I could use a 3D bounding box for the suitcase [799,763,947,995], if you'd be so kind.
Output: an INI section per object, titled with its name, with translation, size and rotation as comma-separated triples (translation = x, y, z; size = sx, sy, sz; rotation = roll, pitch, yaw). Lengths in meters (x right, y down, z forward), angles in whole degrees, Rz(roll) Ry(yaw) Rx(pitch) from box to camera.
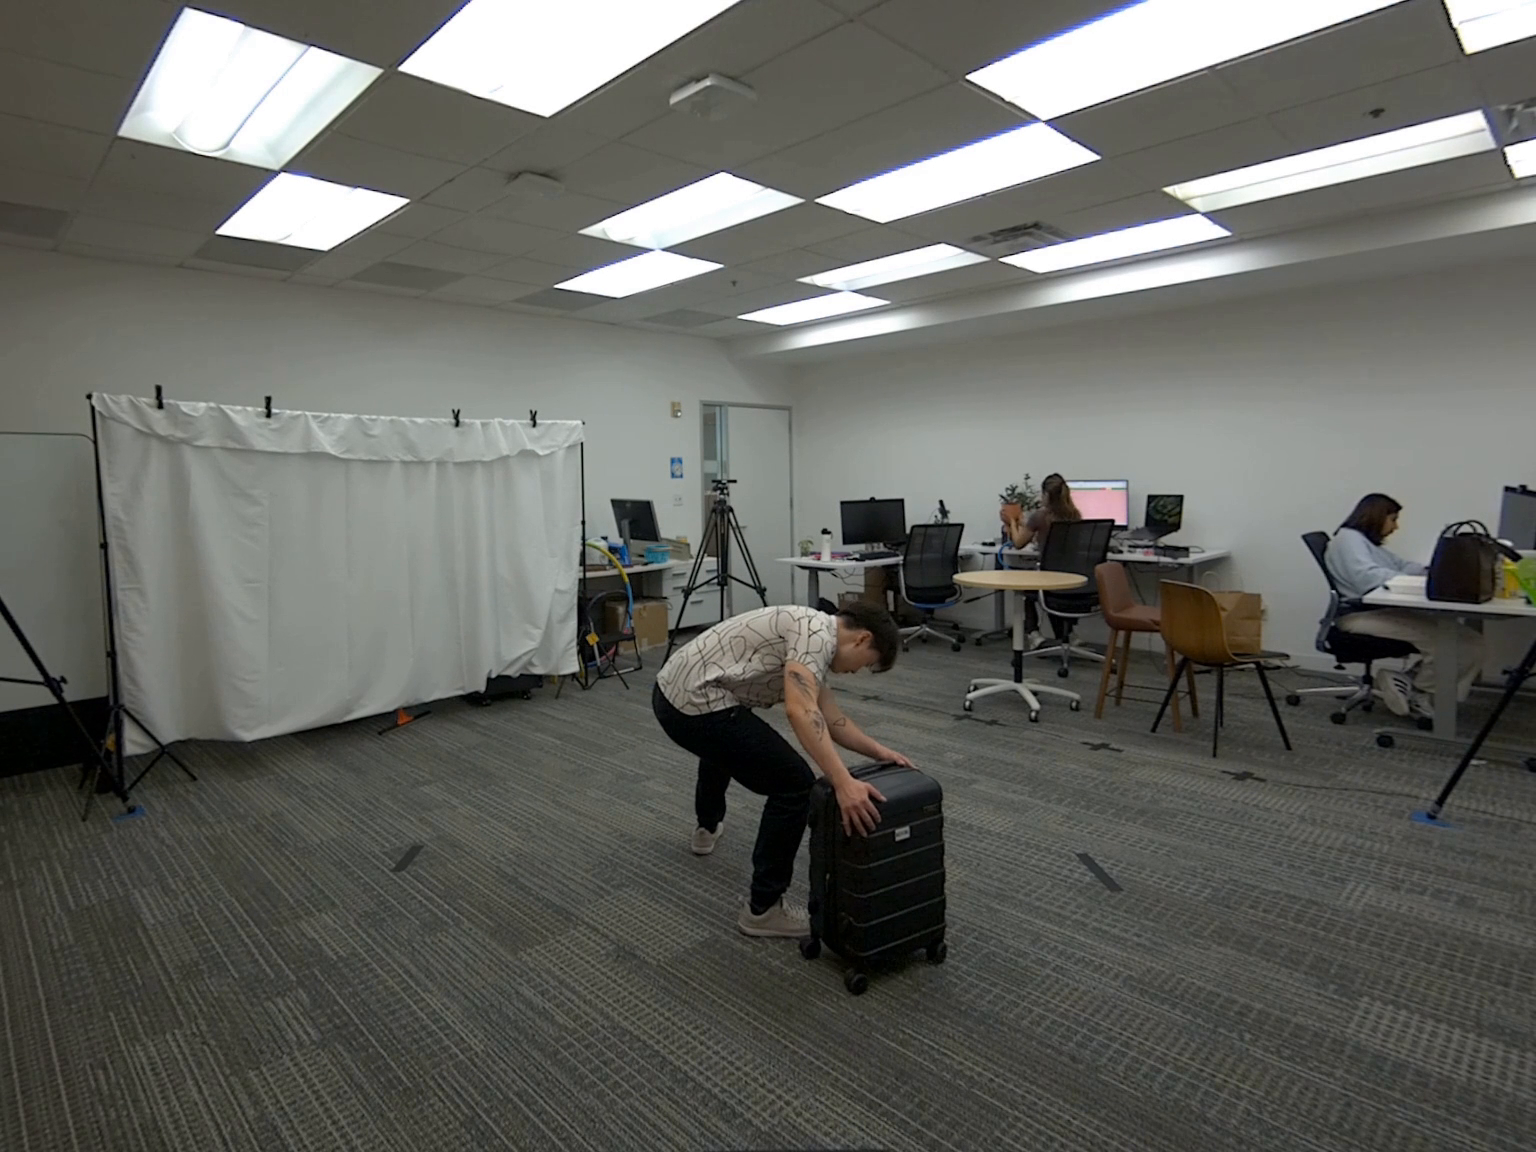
[suitcase]
translation = 0.326, 0.837, 2.488
size = 0.366, 0.548, 0.255
rotation = -2, 3, -31
